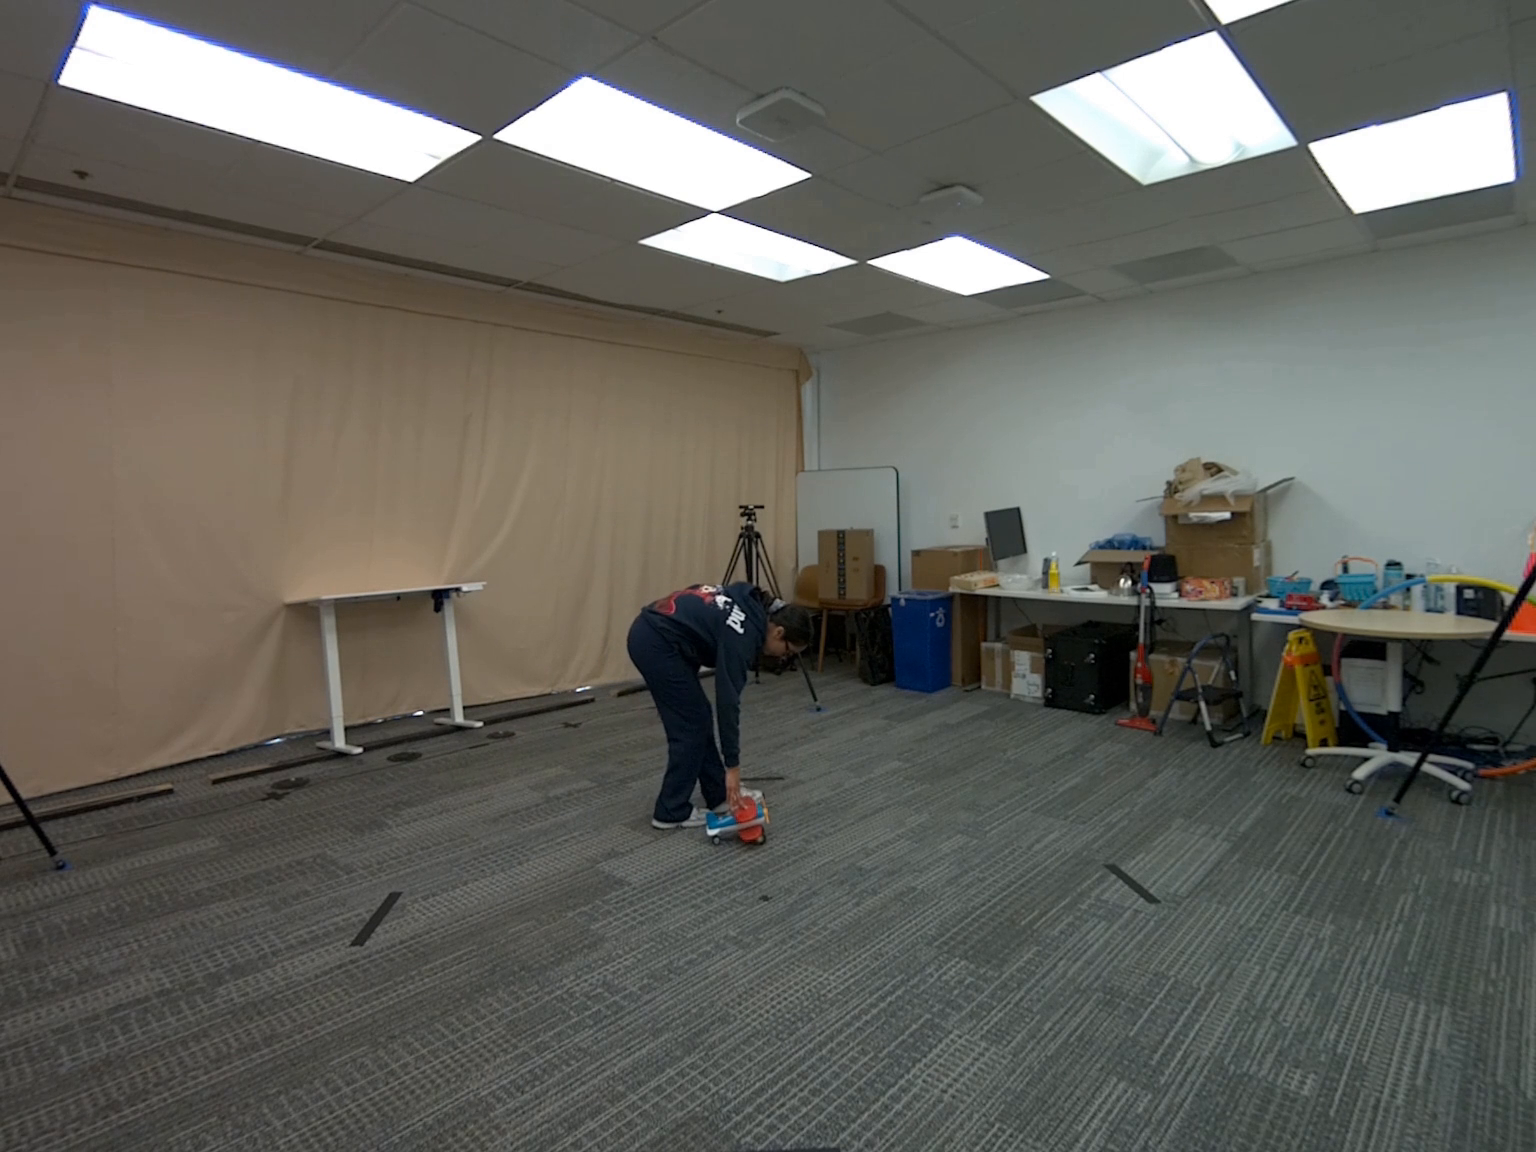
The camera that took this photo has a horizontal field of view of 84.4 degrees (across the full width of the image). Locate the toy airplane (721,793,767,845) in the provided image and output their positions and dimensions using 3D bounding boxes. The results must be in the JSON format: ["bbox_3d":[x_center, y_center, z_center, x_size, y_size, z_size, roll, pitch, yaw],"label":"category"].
[{"bbox_3d":[-0.118,1.027,3.469,0.252,0.156,0.258,-4,5,-30],"label":"toy airplane"}]
